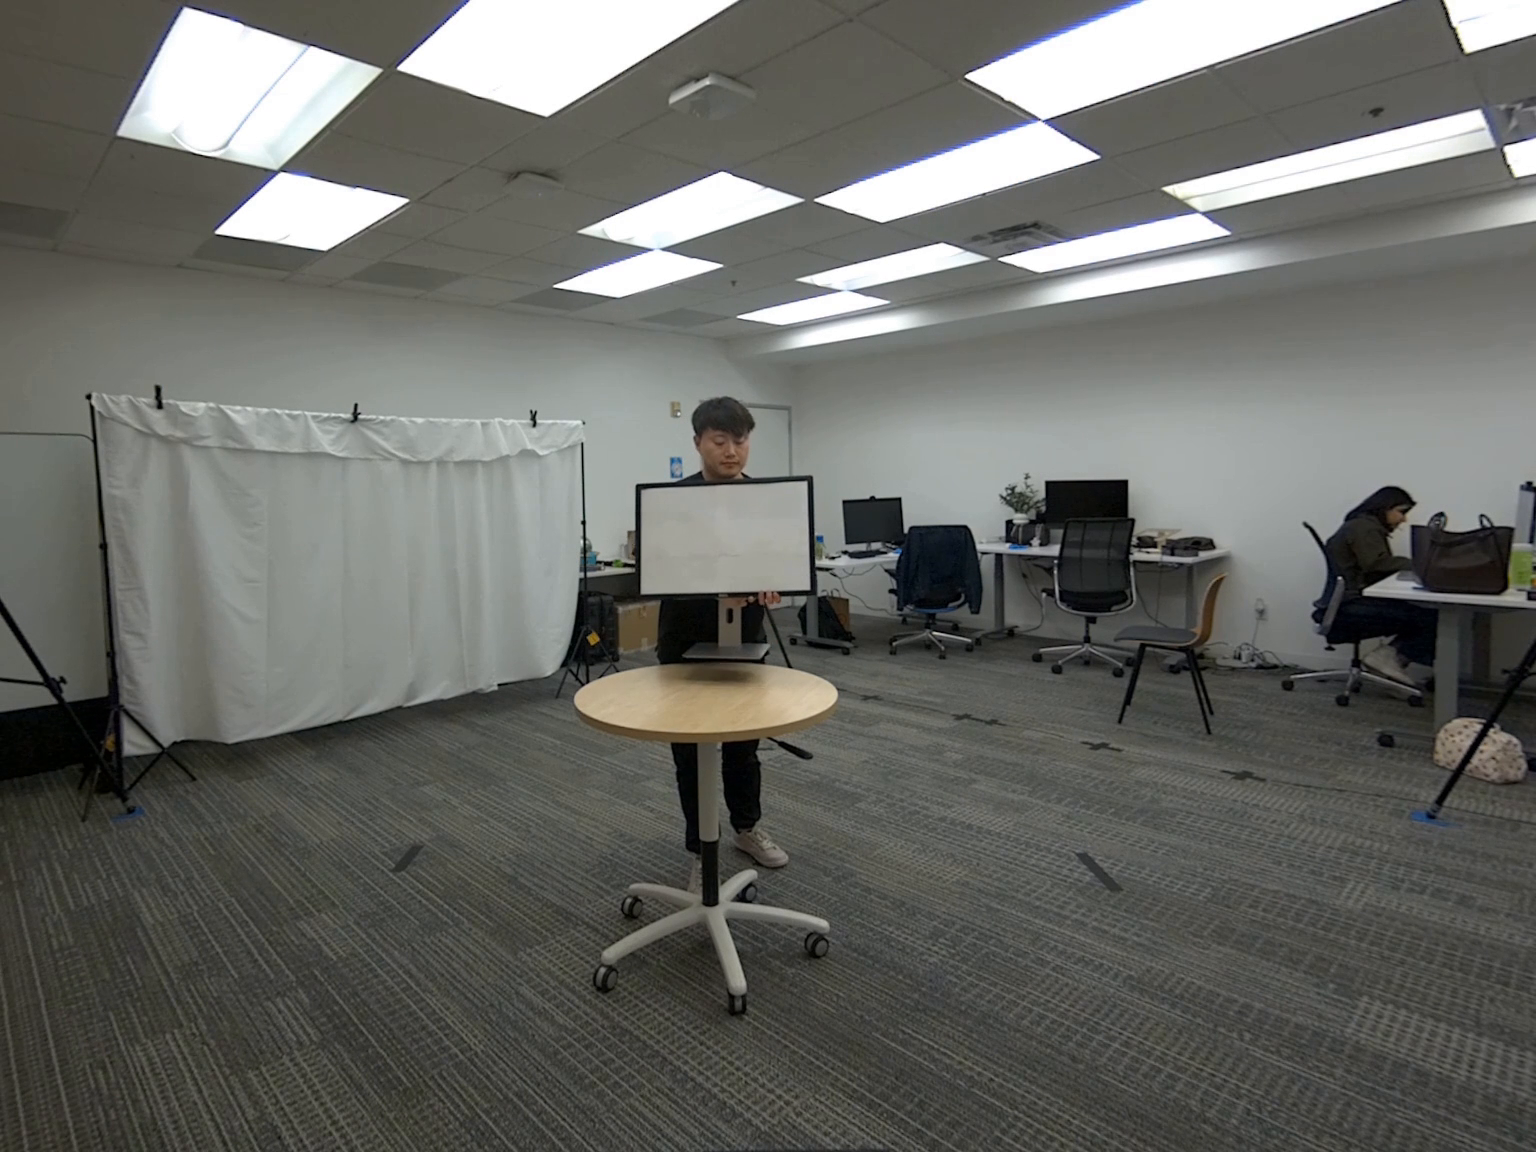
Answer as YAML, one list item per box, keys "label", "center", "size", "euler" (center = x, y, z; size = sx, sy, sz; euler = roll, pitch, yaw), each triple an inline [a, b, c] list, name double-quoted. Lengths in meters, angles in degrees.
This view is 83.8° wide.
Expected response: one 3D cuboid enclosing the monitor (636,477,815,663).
- label: "monitor"
  center: [-0.122, -0.013, 2.659]
  size: [0.543, 0.520, 0.186]
  euler: [0, 4, 7]
